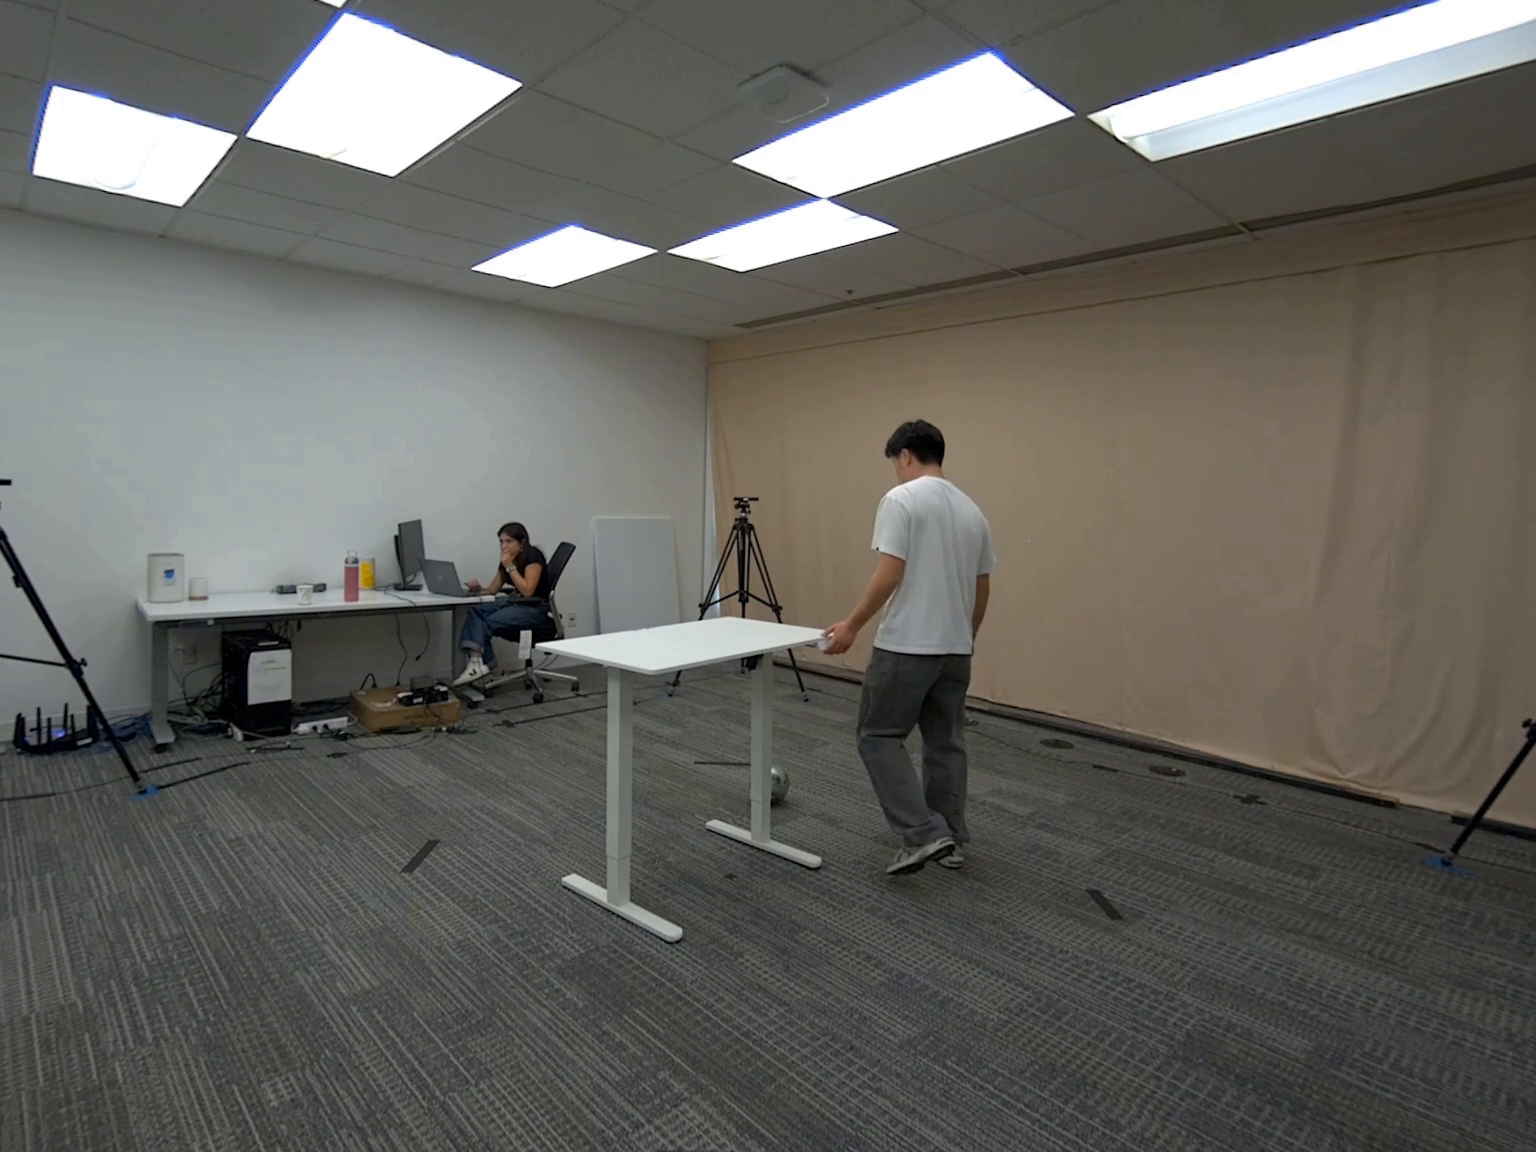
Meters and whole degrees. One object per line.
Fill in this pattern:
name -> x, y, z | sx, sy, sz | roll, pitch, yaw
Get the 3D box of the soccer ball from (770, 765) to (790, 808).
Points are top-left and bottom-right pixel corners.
soccer ball -> -0.005, 0.961, 3.875 | 0.187, 0.187, 0.188 | 1, 4, -1
